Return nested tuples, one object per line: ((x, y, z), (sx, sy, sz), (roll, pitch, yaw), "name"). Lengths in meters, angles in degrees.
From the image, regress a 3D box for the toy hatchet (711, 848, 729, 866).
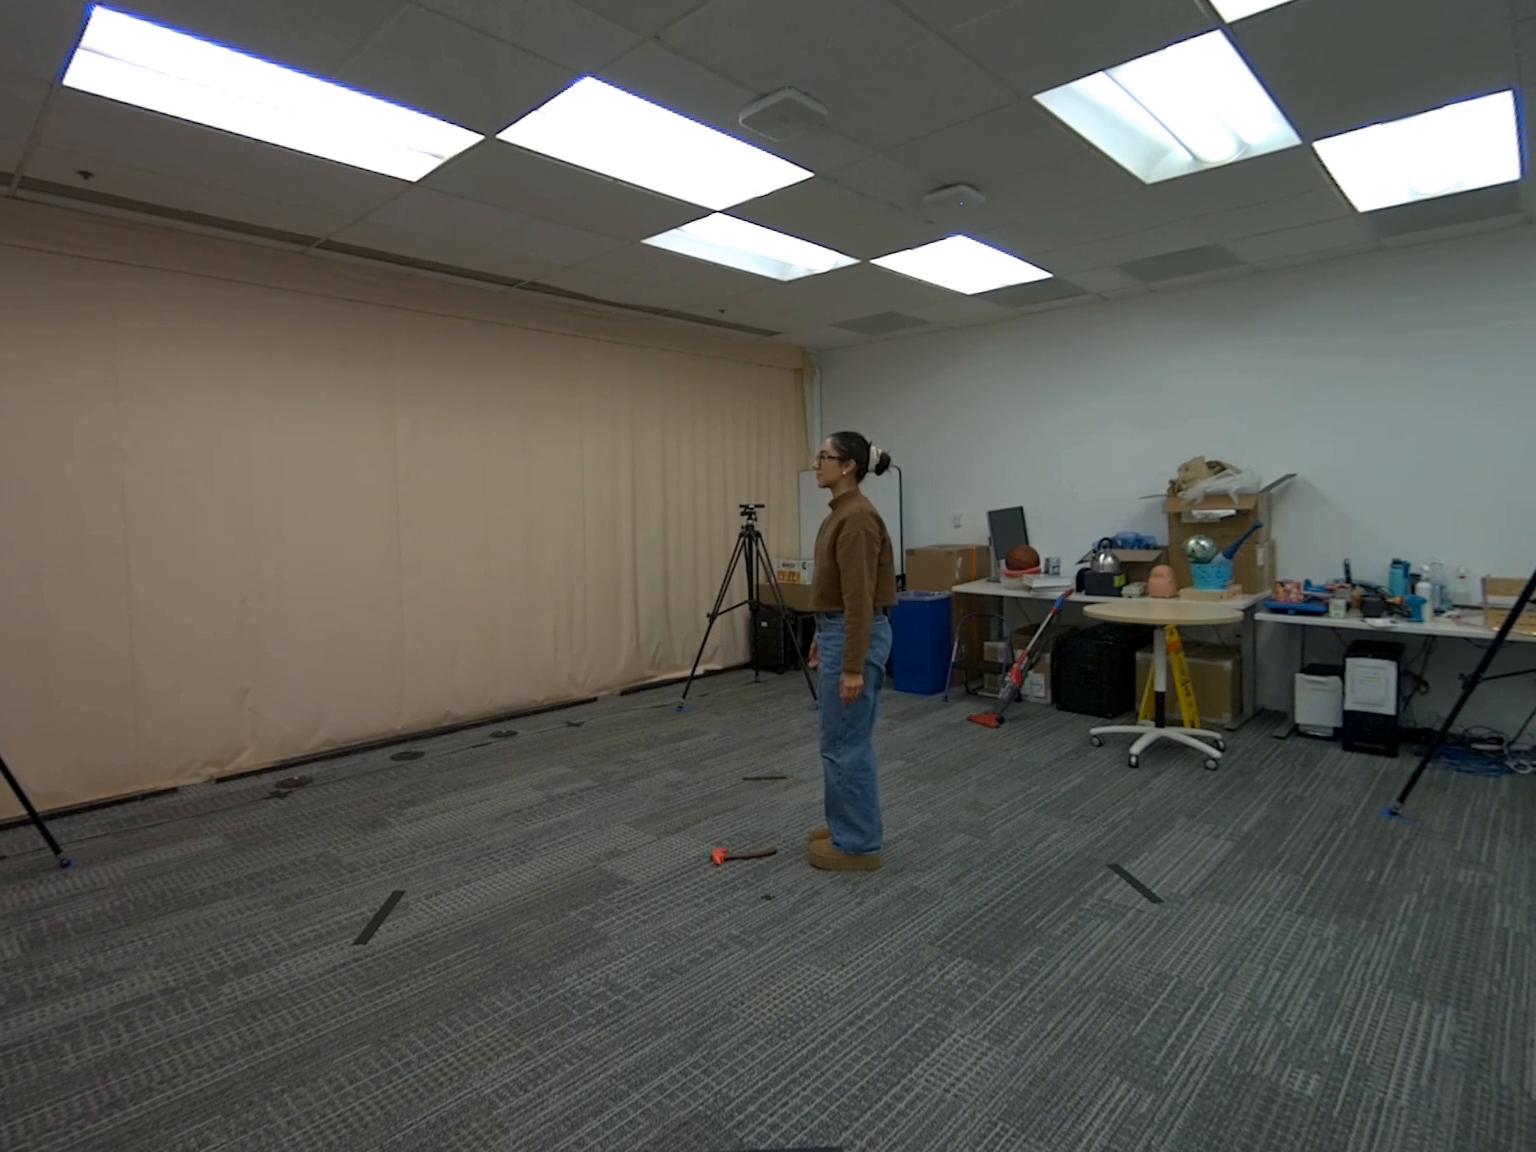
((-0.102, 1.101, 3.349), (0.263, 0.029, 0.134), (-2, 4, -27), "toy hatchet")
